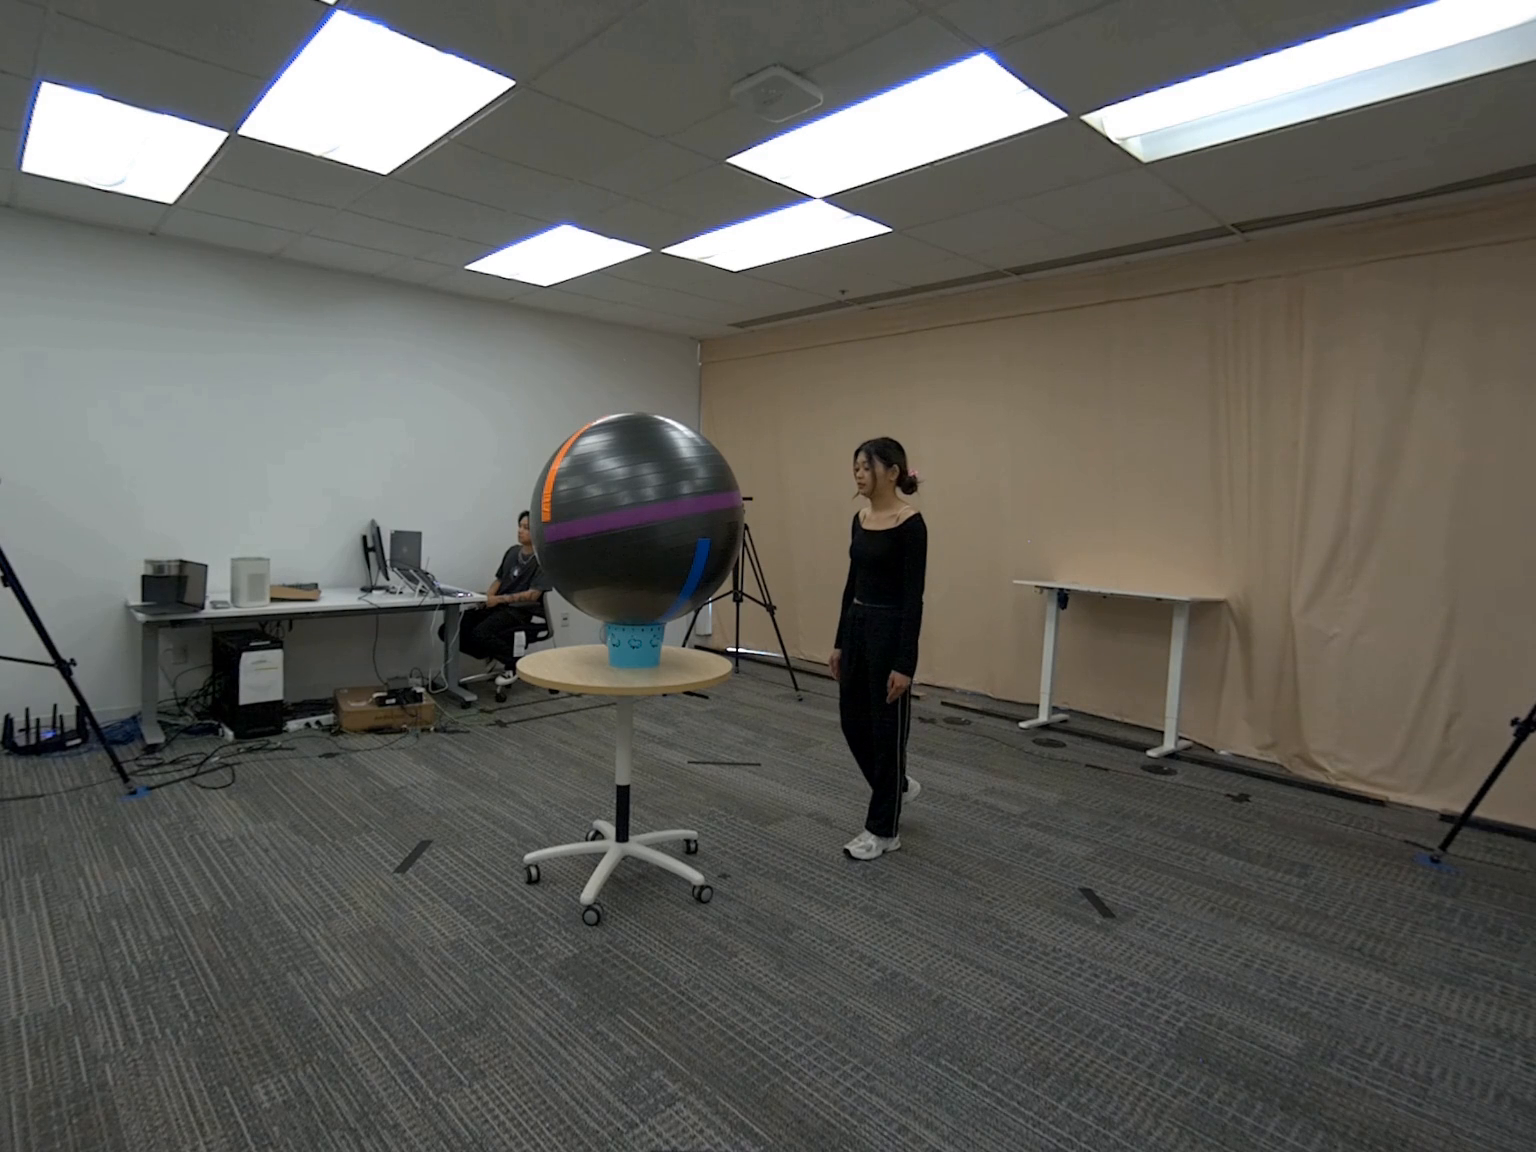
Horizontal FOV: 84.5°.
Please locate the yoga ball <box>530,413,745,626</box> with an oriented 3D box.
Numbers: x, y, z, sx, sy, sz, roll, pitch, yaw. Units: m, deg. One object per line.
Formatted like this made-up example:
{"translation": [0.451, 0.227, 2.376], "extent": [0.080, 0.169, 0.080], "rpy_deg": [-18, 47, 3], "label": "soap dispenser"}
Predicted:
{"translation": [-0.472, -0.192, 3.010], "extent": [0.757, 0.756, 0.761], "rpy_deg": [1, 4, -1], "label": "yoga ball"}
